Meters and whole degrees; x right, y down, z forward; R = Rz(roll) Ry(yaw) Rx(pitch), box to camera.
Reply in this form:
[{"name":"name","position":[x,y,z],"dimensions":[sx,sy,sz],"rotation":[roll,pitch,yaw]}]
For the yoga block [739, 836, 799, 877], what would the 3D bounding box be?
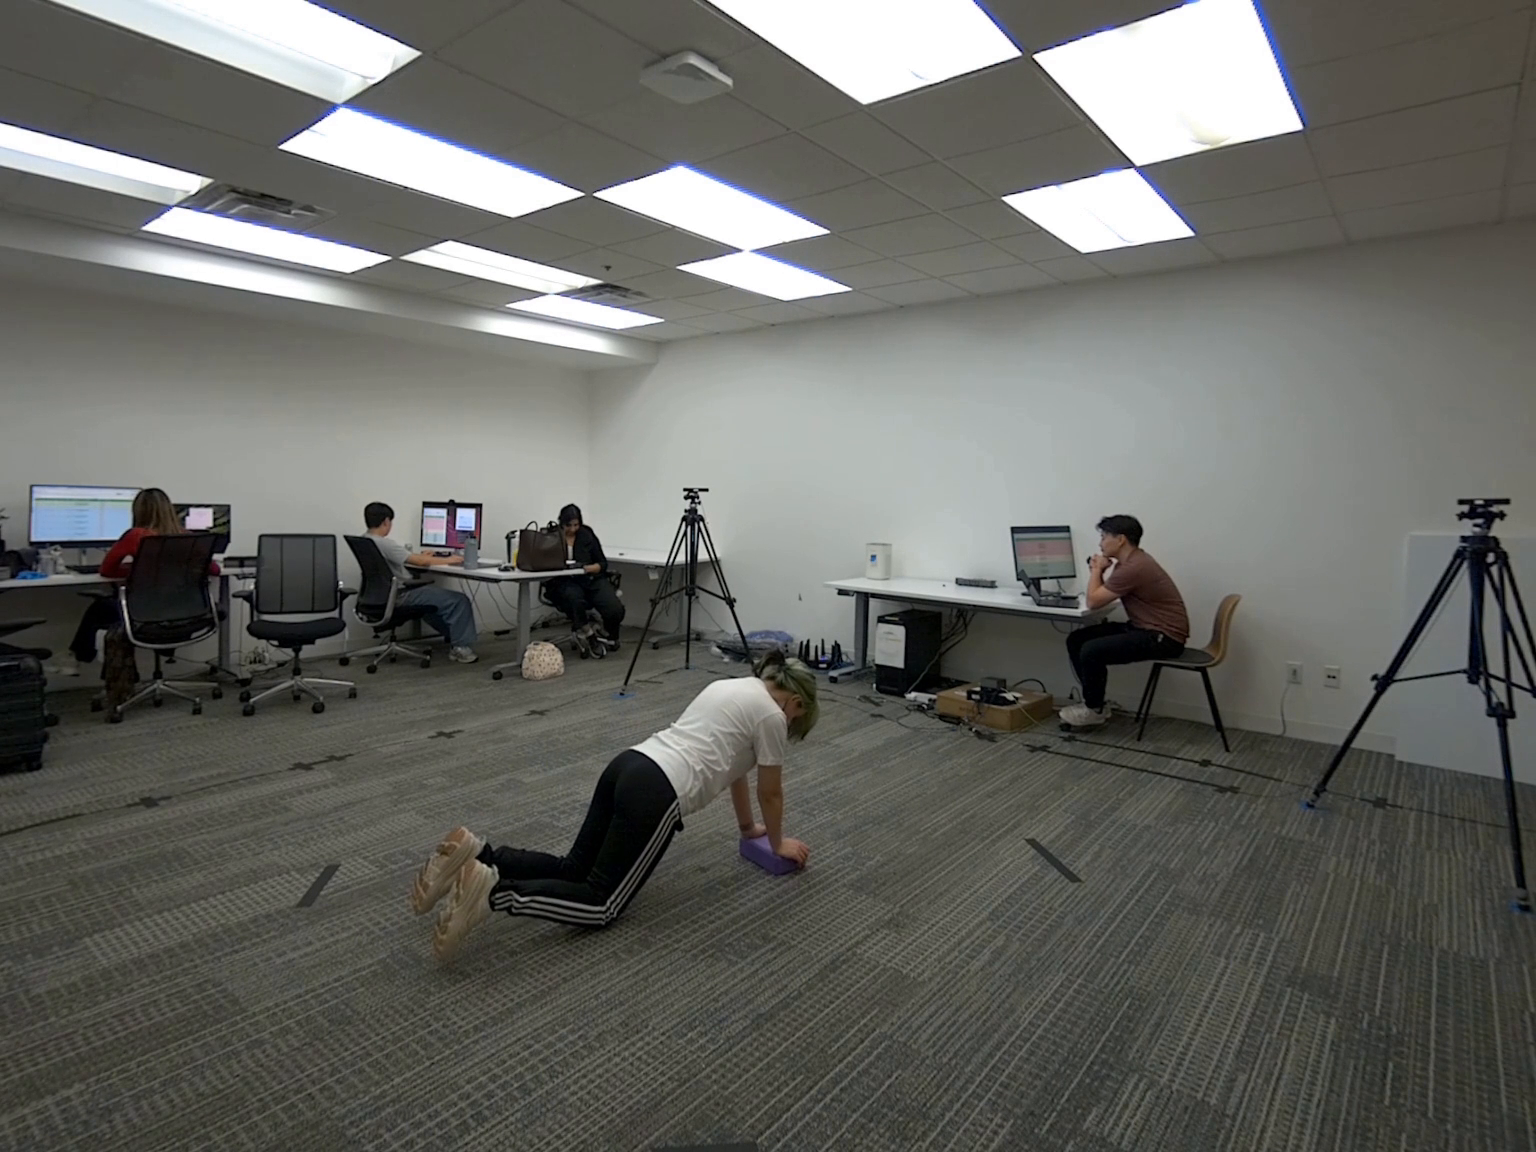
[{"name":"yoga block","position":[0.006,1.027,3.192],"dimensions":[0.144,0.076,0.237],"rotation":[-1,4,-38]}]
